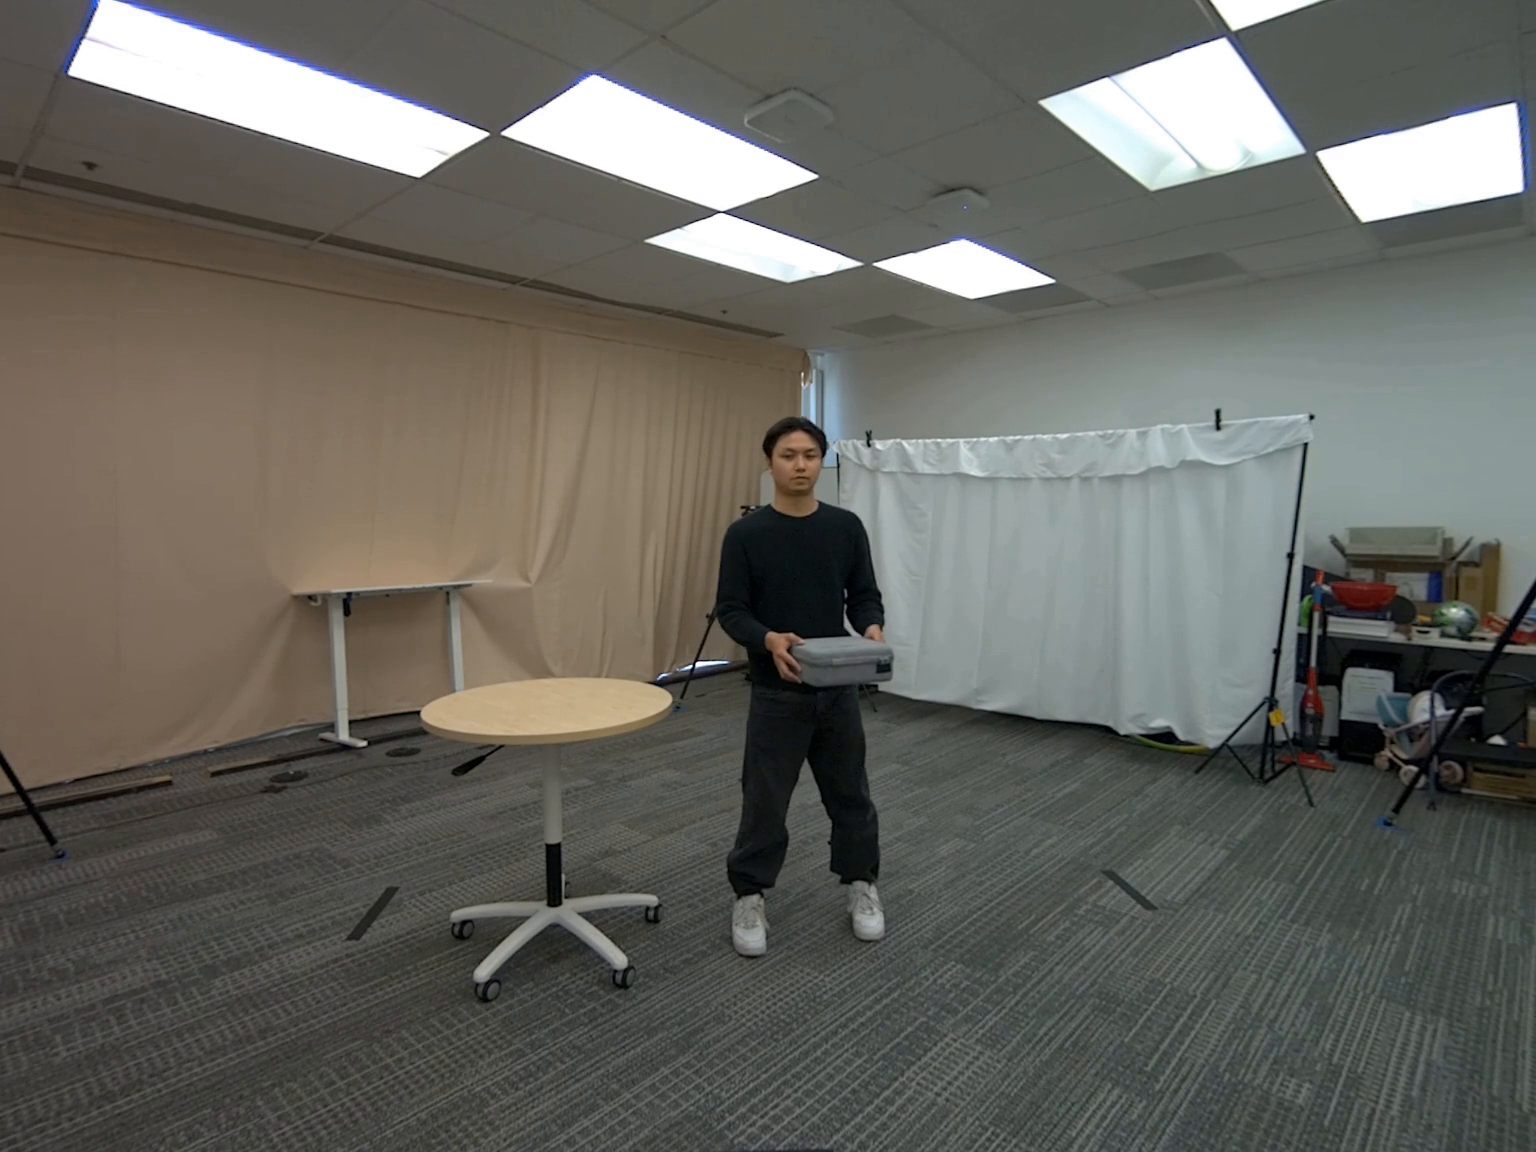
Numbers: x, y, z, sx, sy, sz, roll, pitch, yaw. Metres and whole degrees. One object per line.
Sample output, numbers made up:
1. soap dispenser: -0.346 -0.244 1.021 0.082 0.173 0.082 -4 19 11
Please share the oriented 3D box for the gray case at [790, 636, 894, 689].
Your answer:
1. gray case: 0.204 0.240 2.427 0.253 0.104 0.264 -4 3 -14
